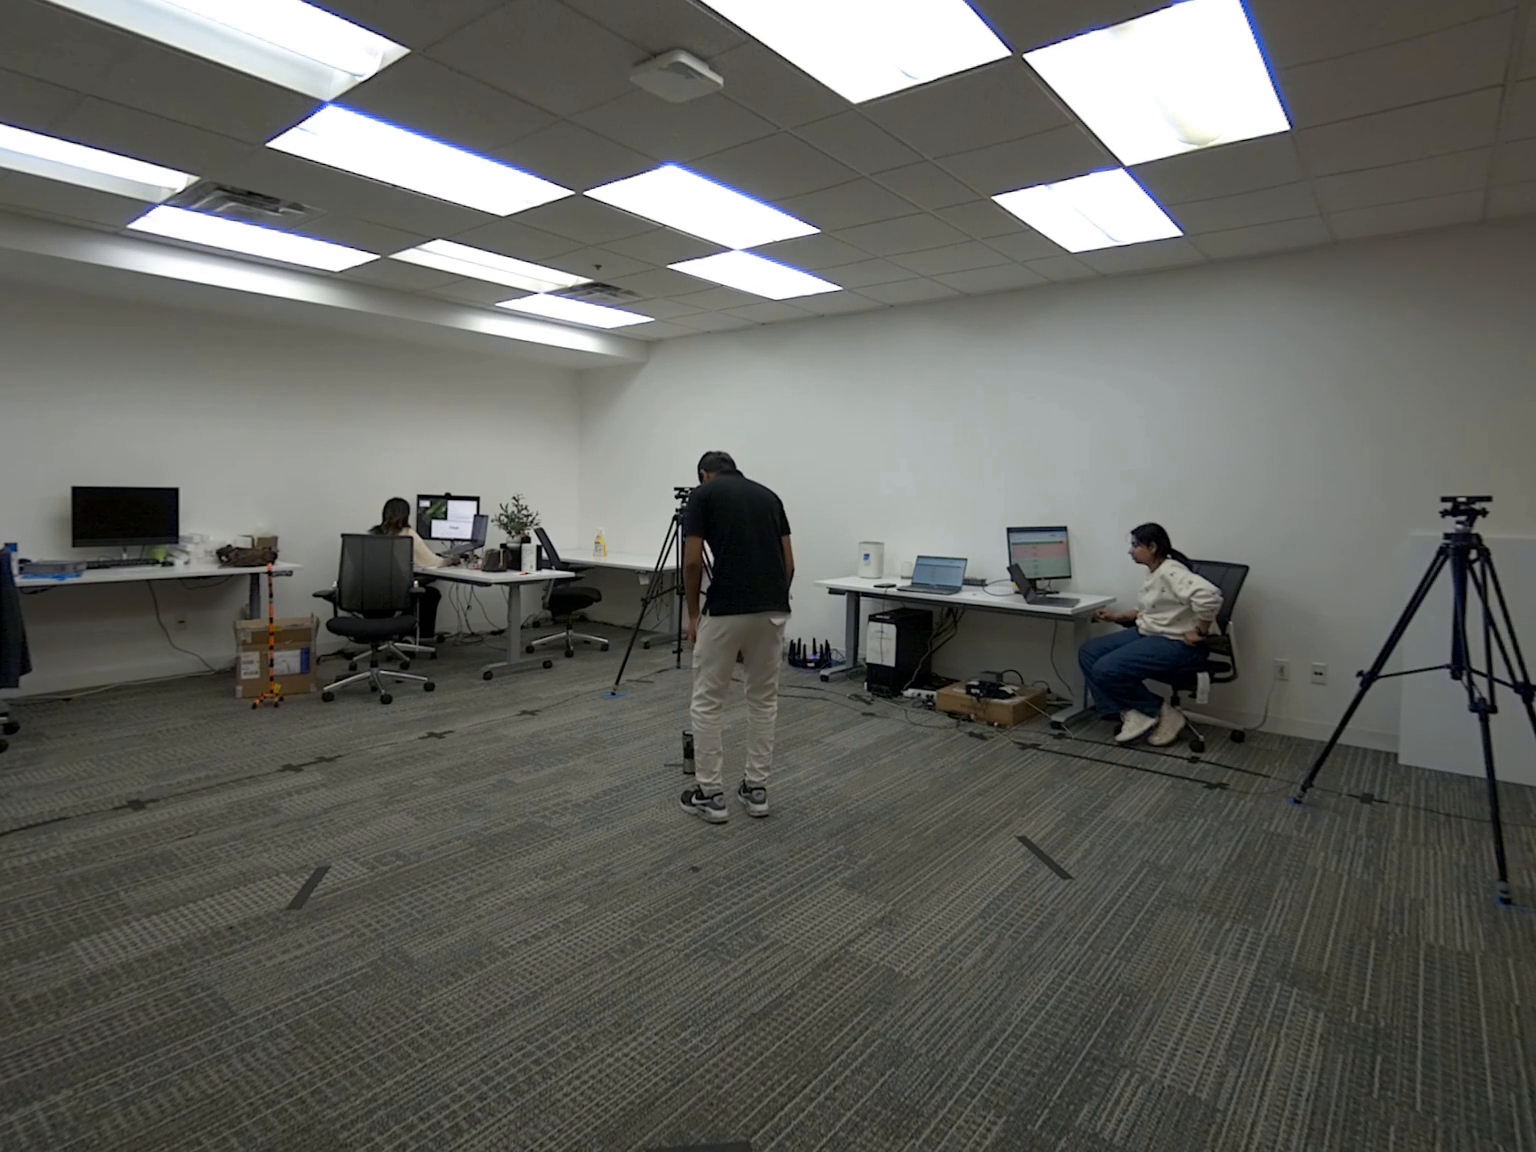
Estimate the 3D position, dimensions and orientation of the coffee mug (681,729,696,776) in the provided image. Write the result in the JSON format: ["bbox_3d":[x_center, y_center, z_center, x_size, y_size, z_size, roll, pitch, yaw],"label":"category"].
[{"bbox_3d":[-0.405,0.862,4.150,0.091,0.202,0.118,7,3,31],"label":"coffee mug"}]
